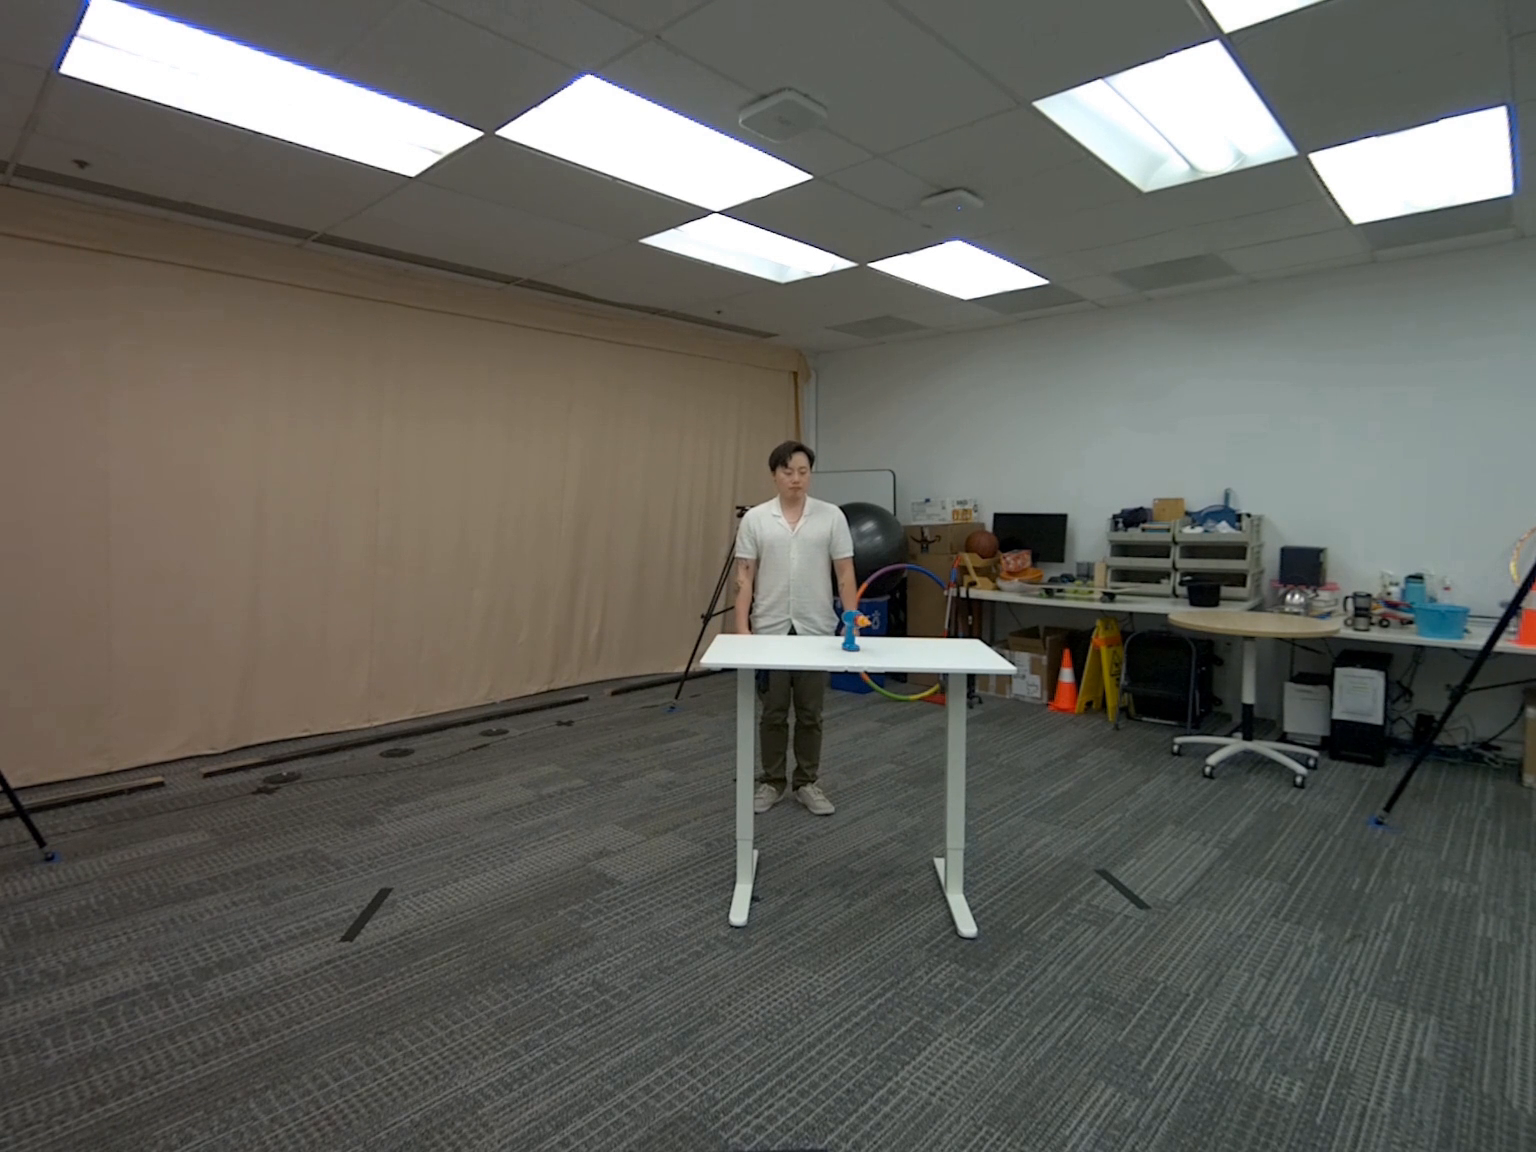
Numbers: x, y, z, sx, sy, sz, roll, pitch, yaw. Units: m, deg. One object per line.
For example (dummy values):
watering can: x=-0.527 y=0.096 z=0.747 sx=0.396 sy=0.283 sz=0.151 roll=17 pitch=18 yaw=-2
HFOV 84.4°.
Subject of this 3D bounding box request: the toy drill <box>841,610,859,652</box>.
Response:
toy drill: x=0.309 y=0.193 z=2.953 sx=0.060 sy=0.146 sz=0.173 roll=1 pitch=3 yaw=-19
